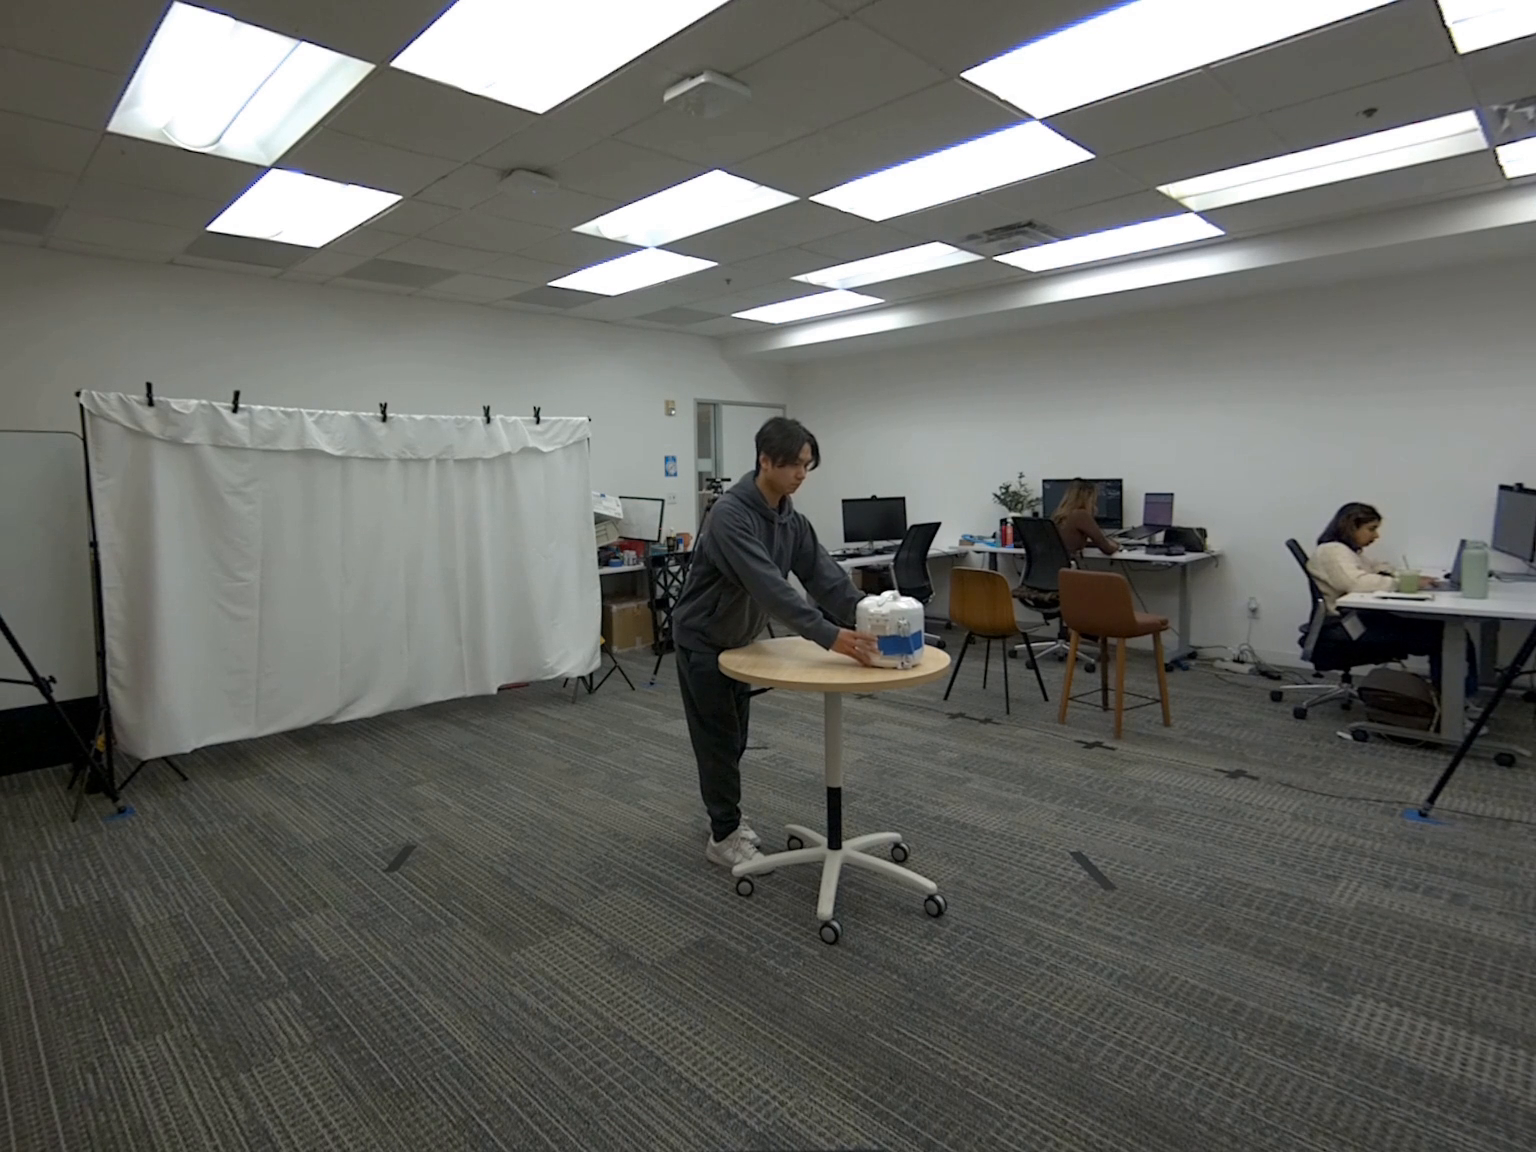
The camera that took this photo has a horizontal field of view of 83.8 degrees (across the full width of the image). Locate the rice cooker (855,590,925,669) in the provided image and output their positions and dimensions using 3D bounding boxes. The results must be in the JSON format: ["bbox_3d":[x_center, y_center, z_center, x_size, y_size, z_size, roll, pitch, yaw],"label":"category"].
[{"bbox_3d":[0.390,0.165,2.720,0.223,0.232,0.216,1,5,27],"label":"rice cooker"}]
